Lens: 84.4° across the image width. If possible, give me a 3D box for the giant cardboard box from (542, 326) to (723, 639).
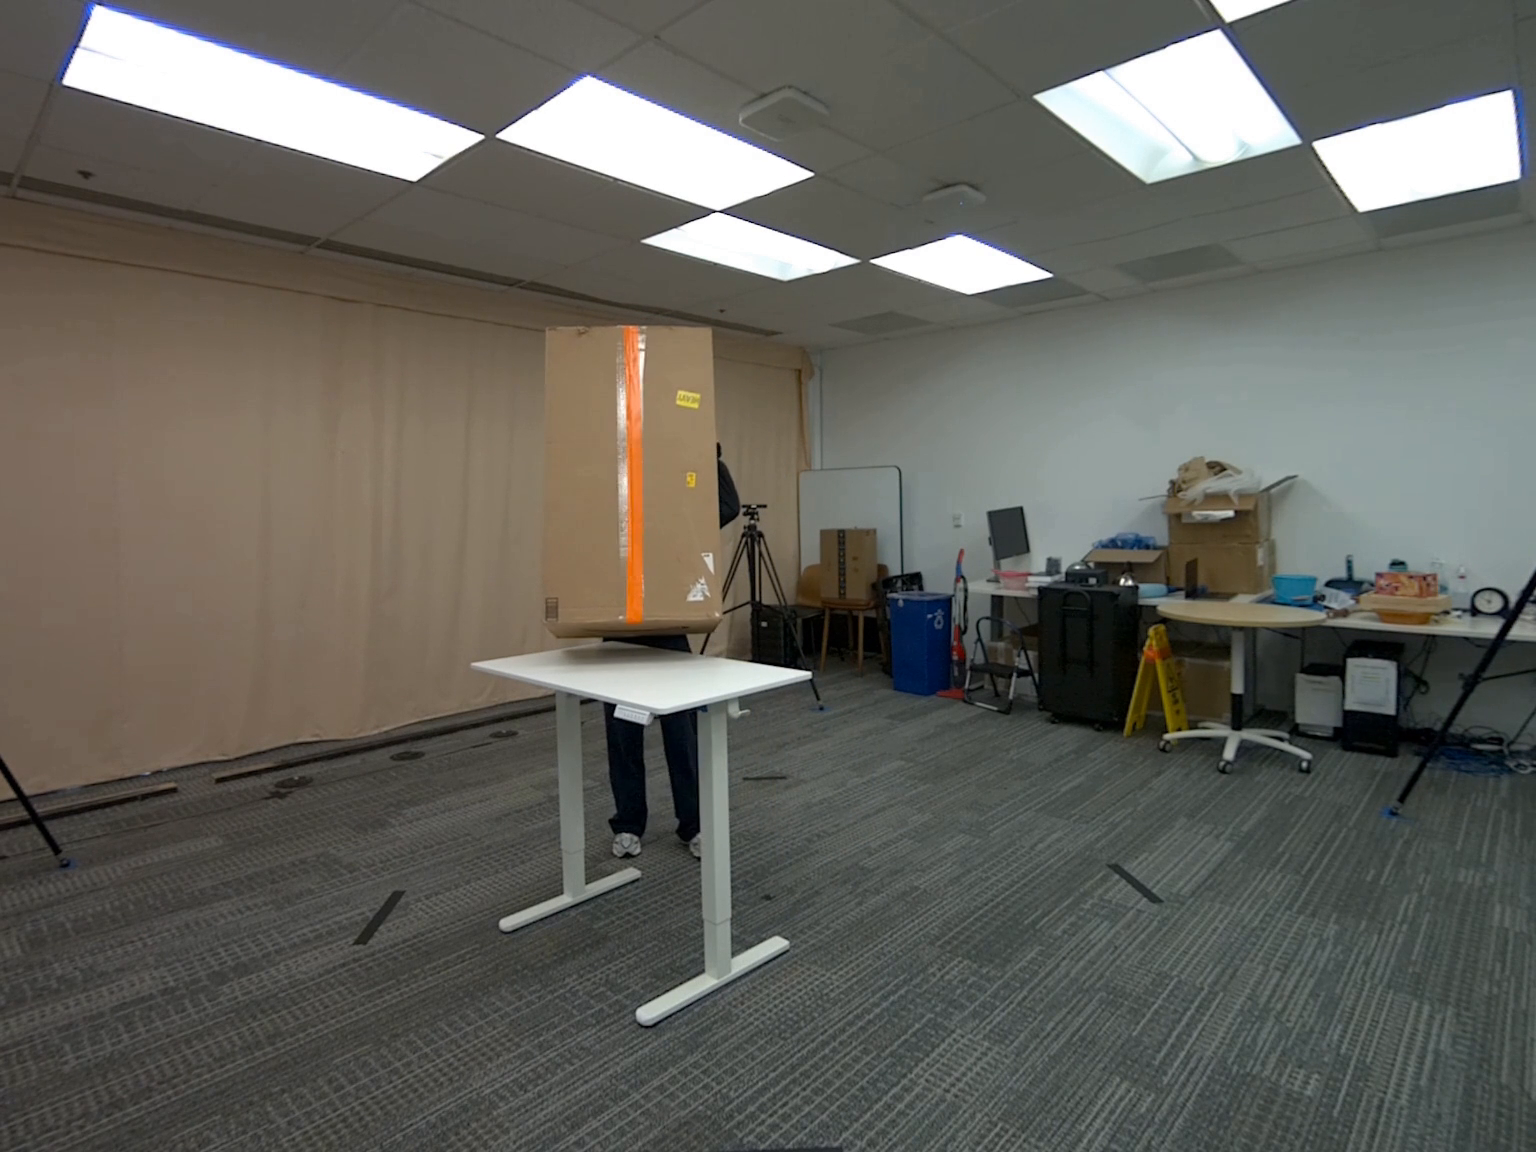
[{"bbox_3d":[-0.467,-0.316,2.998,0.581,1.035,0.446,-2,-11,-5],"label":"giant cardboard box"}]
